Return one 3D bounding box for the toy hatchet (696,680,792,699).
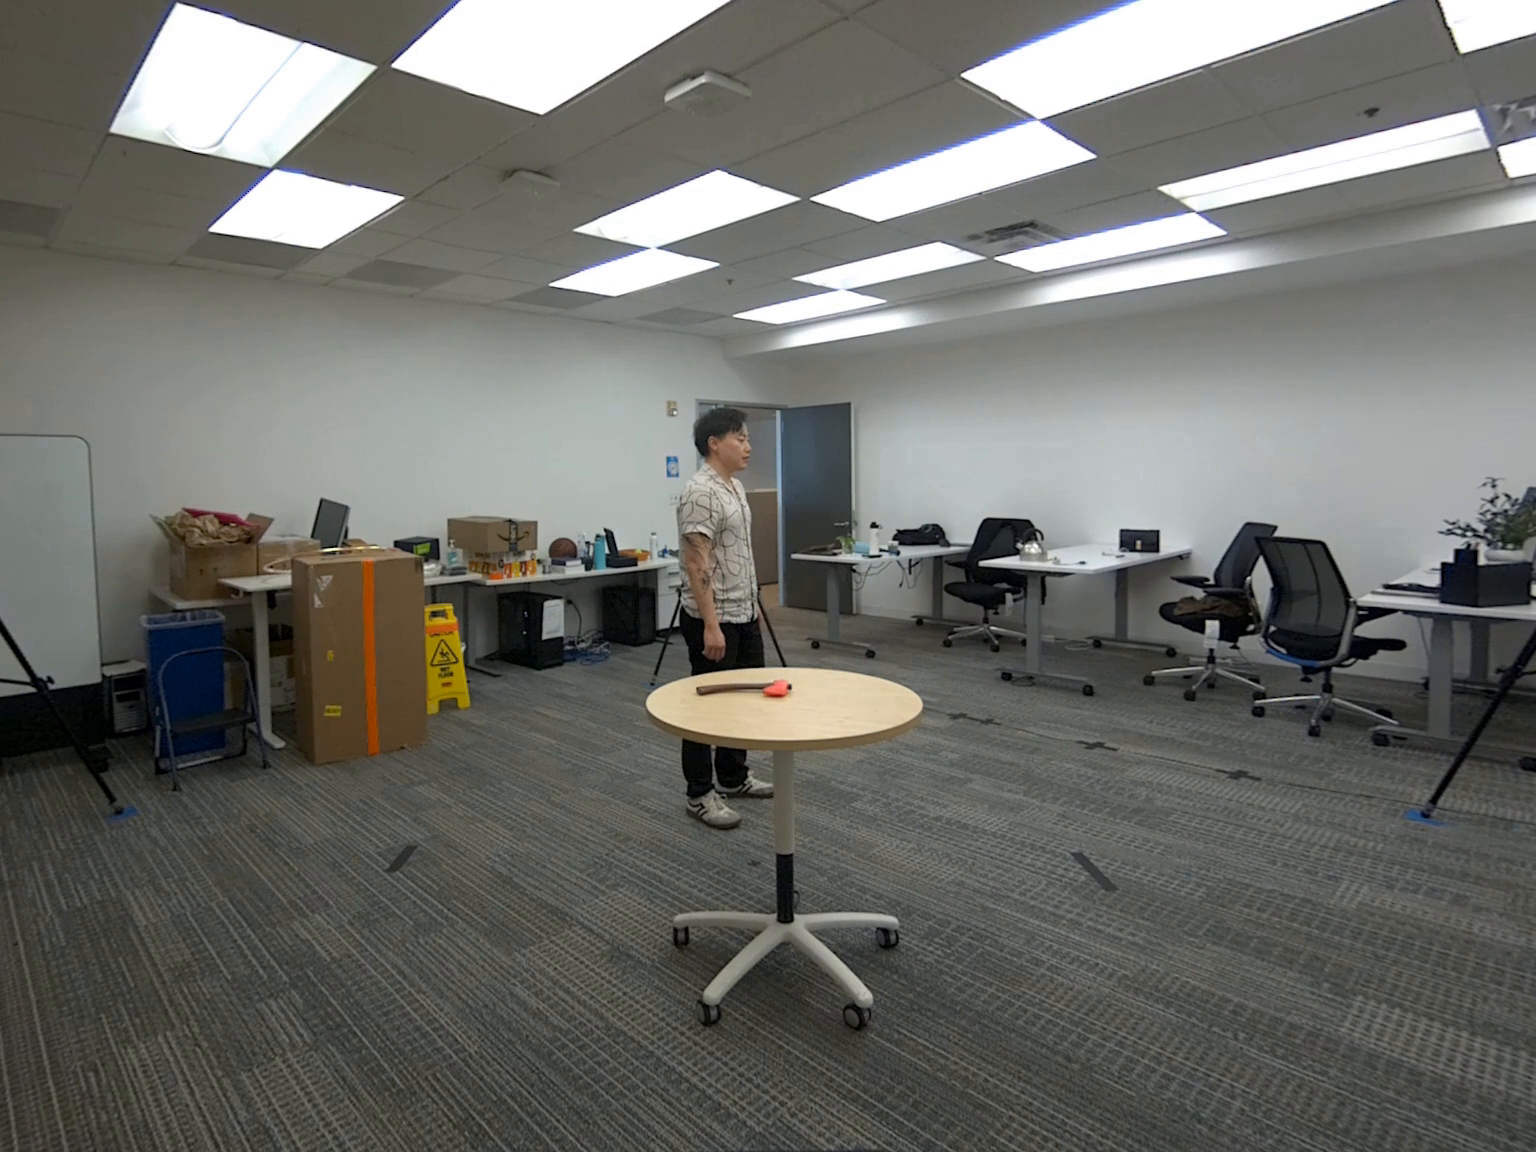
[{"bbox_3d":[-0.056,0.329,2.435,0.267,0.029,0.134,-4,12,-14],"label":"toy hatchet"}]
